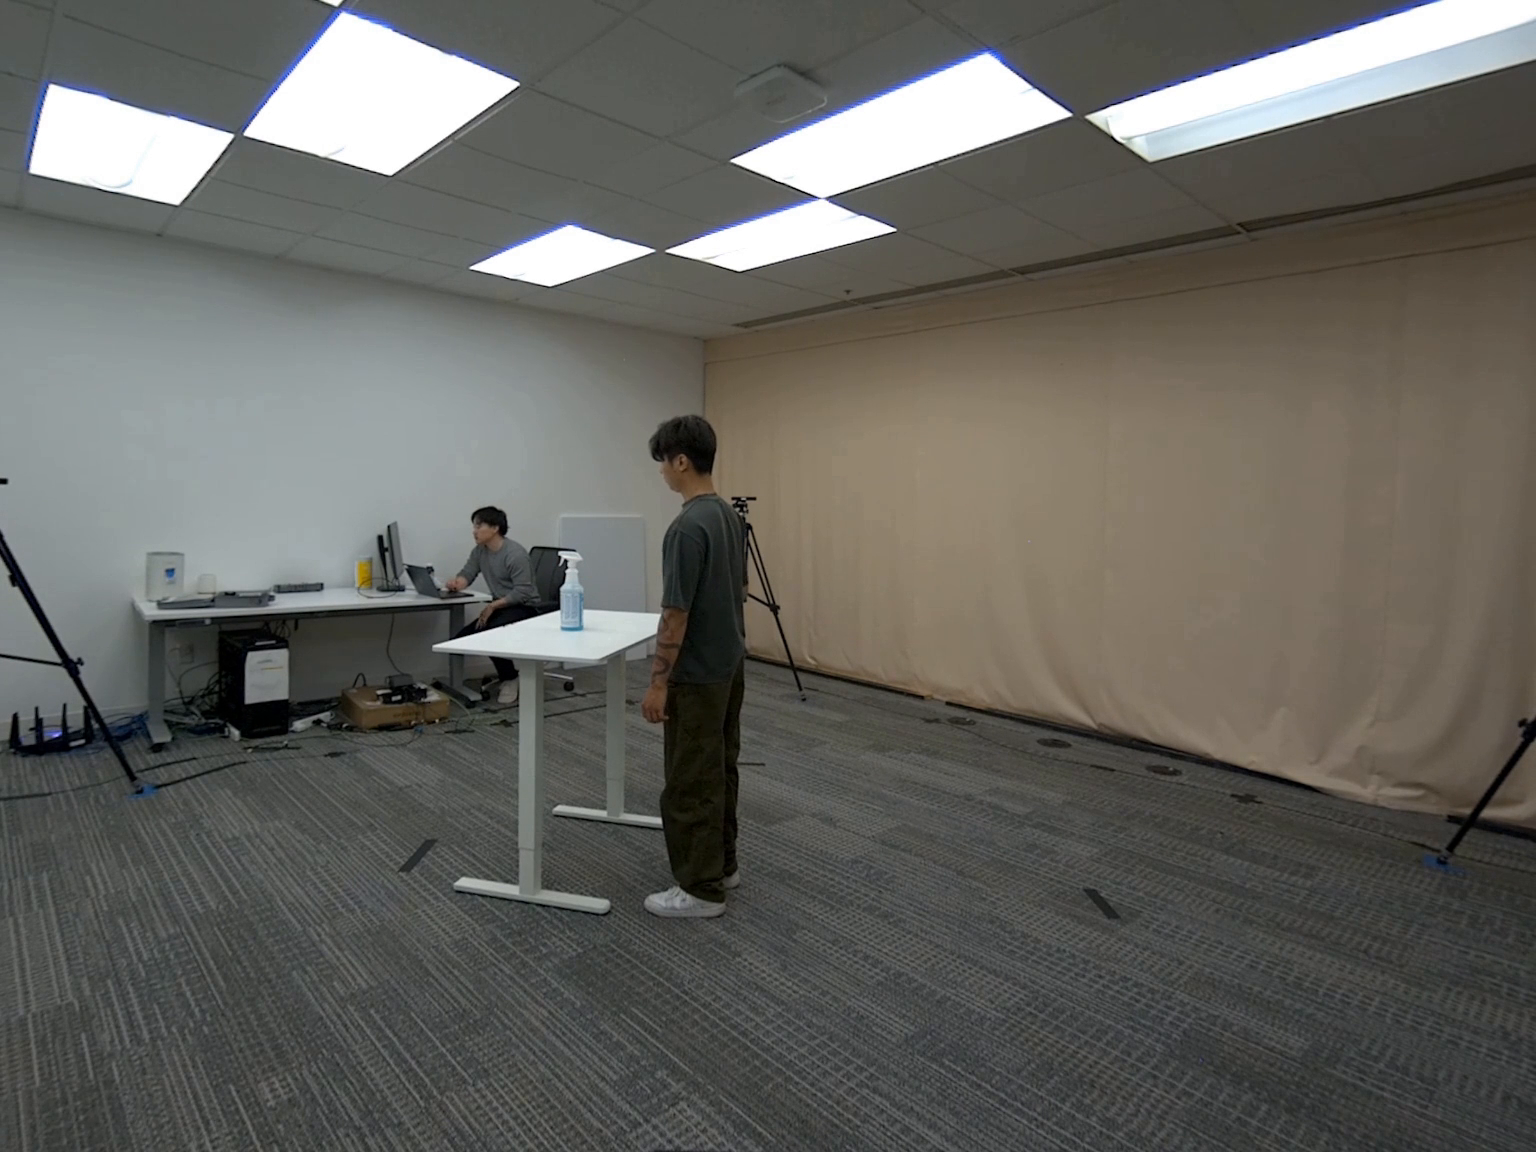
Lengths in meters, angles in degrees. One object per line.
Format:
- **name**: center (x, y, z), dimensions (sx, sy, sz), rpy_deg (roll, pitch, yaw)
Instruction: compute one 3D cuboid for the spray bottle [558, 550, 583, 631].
- **spray bottle**: center (-0.744, 0.058, 3.183), dimensions (0.092, 0.297, 0.085), rpy_deg (2, 3, 29)
